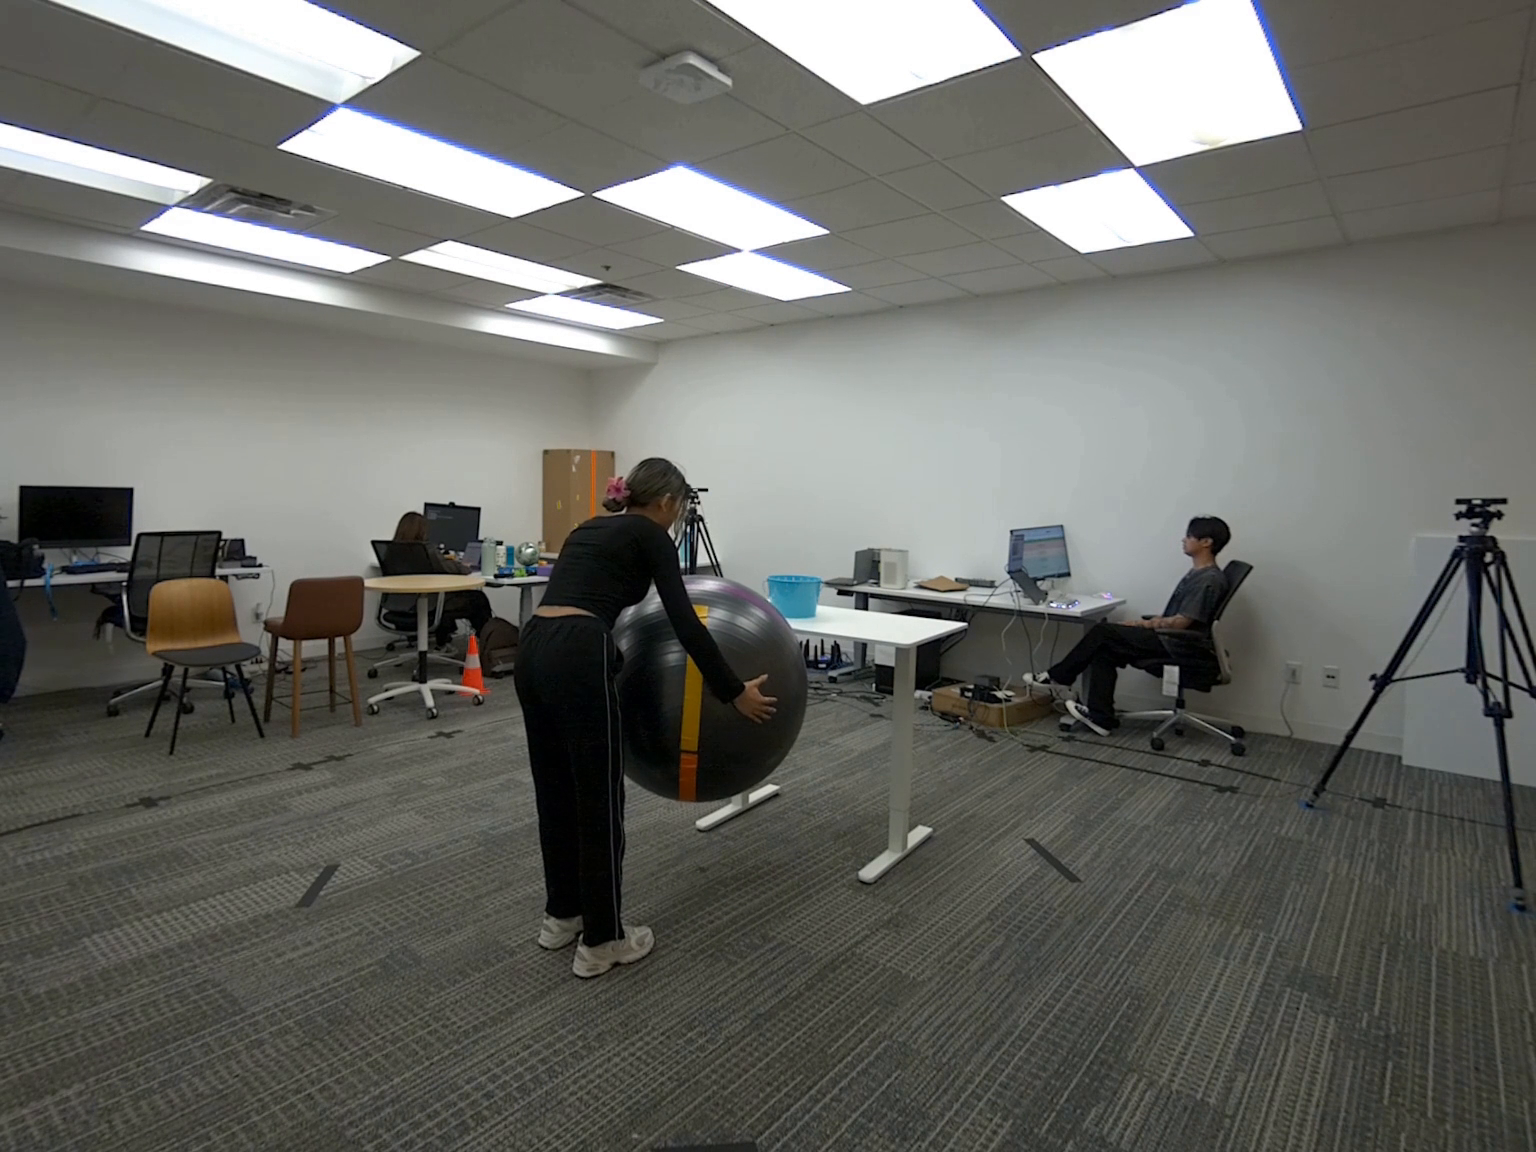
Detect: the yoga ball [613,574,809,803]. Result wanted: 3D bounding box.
[{"bbox_3d":[-0.245,0.383,2.910,0.757,0.756,0.761,1,4,-2],"label":"yoga ball"}]
